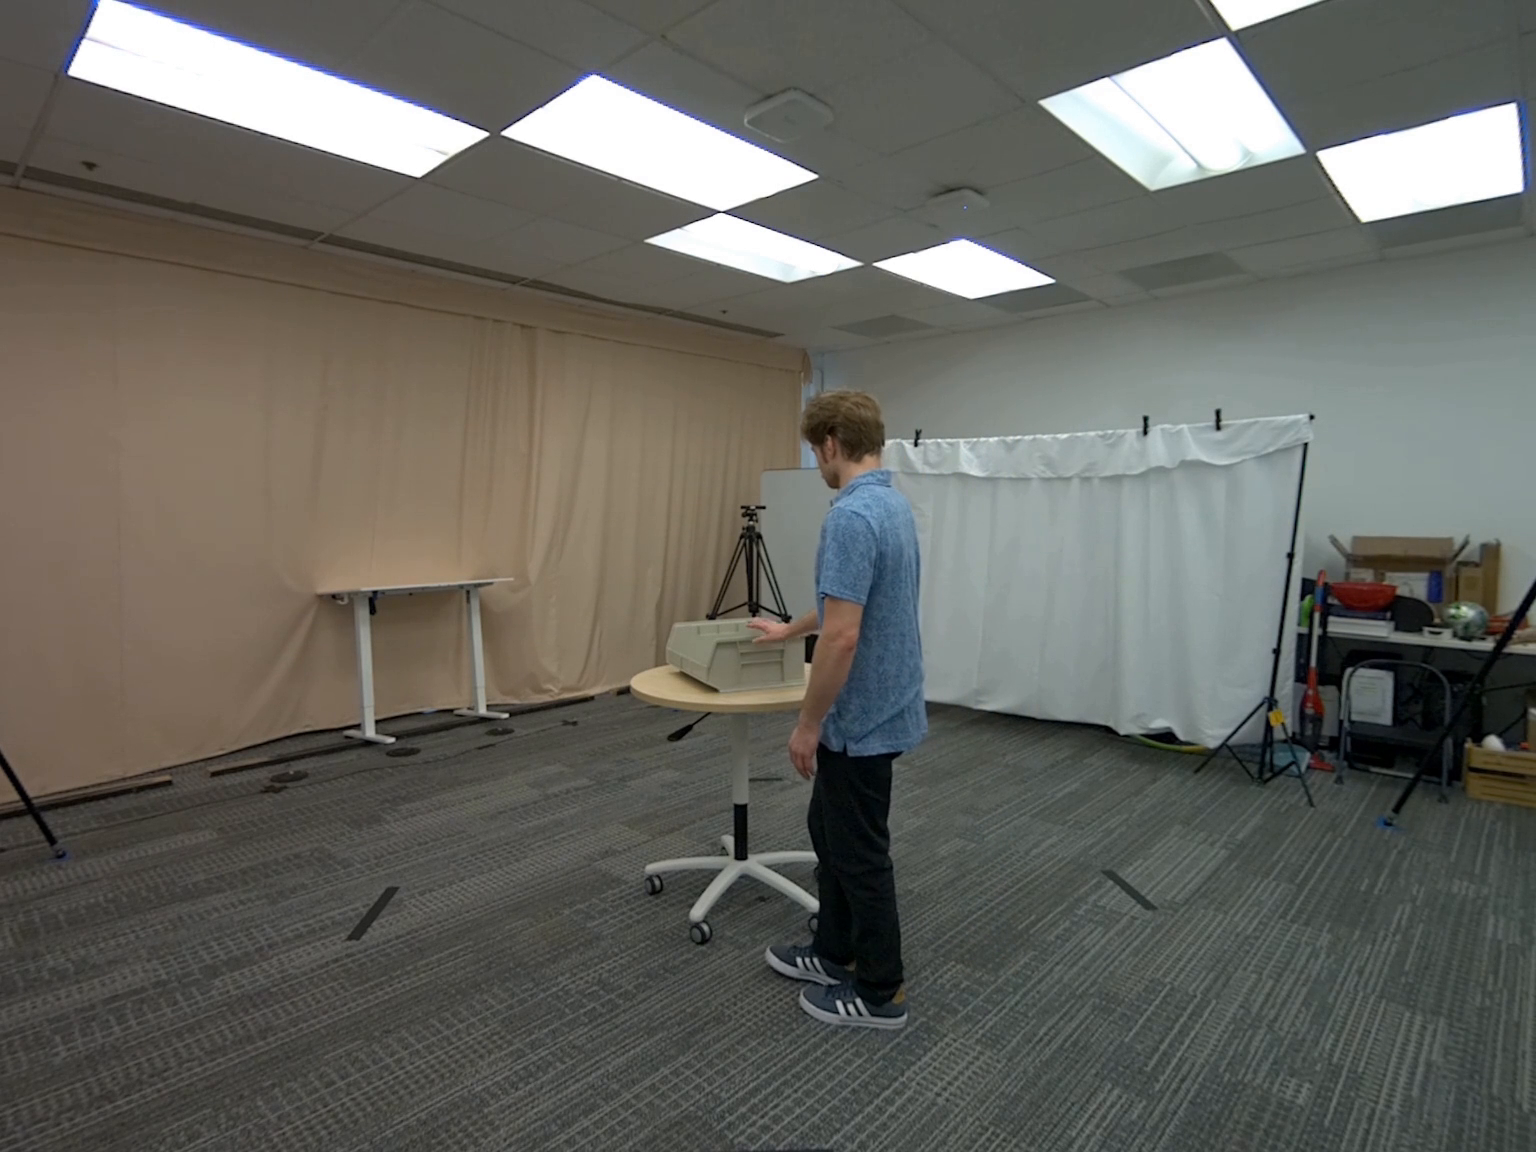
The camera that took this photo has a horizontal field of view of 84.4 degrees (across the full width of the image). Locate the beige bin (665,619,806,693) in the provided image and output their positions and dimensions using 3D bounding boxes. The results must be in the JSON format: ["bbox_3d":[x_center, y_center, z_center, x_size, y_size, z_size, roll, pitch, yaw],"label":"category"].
[{"bbox_3d":[-0.115,0.272,2.968,0.369,0.188,0.432,-1,4,-23],"label":"beige bin"}]
